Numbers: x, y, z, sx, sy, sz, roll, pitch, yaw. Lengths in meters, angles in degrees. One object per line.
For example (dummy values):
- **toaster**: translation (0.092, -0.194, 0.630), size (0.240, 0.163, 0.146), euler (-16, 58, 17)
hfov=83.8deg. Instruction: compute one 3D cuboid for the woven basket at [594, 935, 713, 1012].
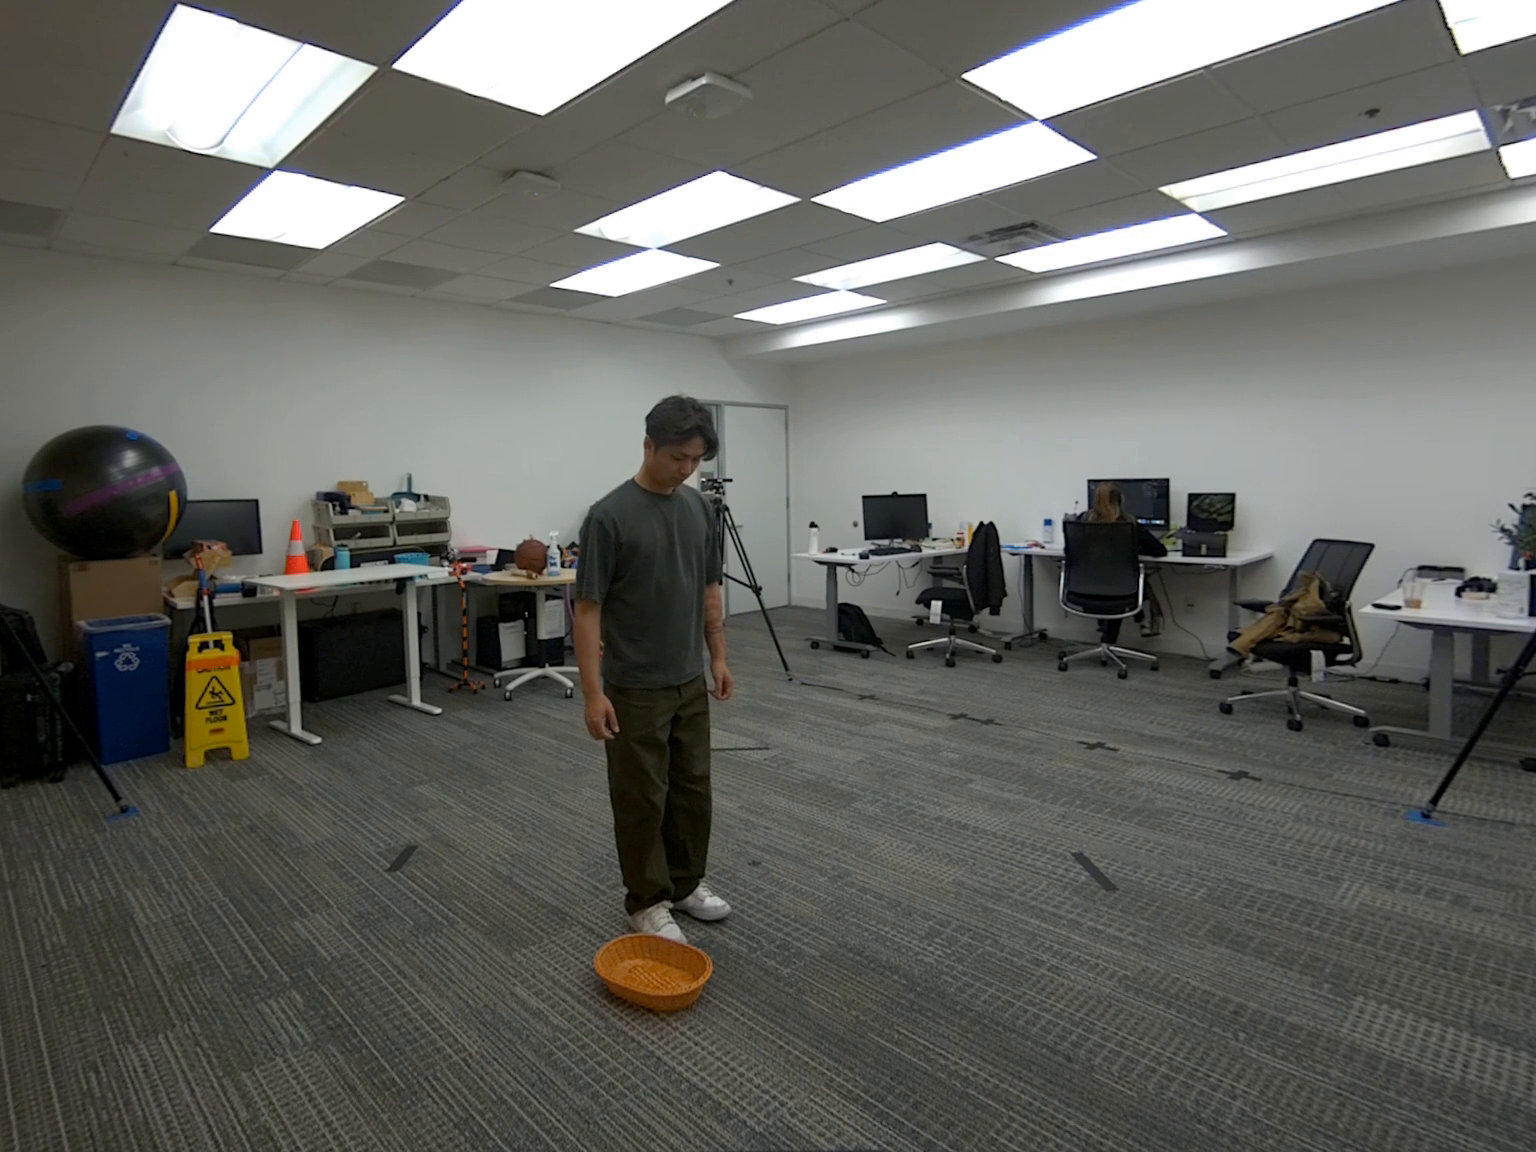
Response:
- **woven basket**: translation (-0.317, 1.106, 2.365), size (0.360, 0.073, 0.246), euler (3, 8, 36)
